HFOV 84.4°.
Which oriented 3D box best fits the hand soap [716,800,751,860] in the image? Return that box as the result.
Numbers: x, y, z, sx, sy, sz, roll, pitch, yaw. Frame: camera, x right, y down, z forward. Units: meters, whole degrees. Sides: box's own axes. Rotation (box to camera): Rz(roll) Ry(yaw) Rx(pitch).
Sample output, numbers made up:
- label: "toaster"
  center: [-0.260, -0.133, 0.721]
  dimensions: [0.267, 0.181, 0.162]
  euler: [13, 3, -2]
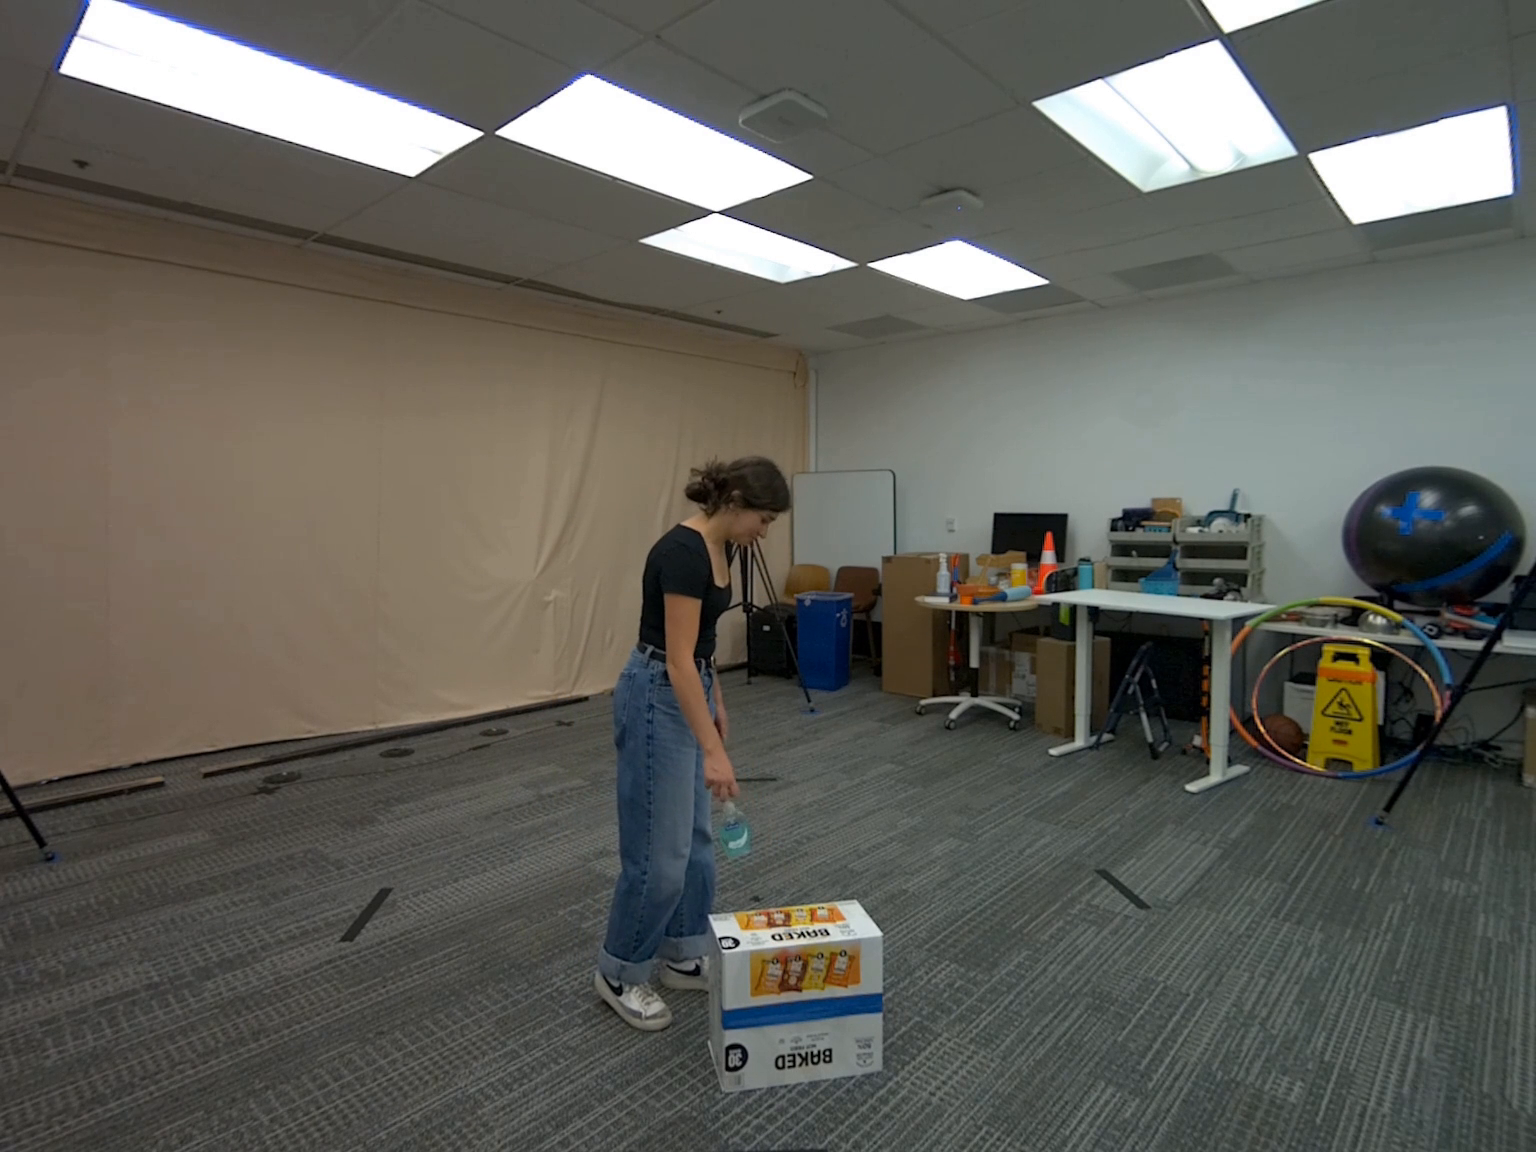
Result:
- label: "hand soap"
  center: [-0.079, 0.630, 2.124]
  dimensions: [0.084, 0.168, 0.043]
  euler: [-9, 1, -6]
